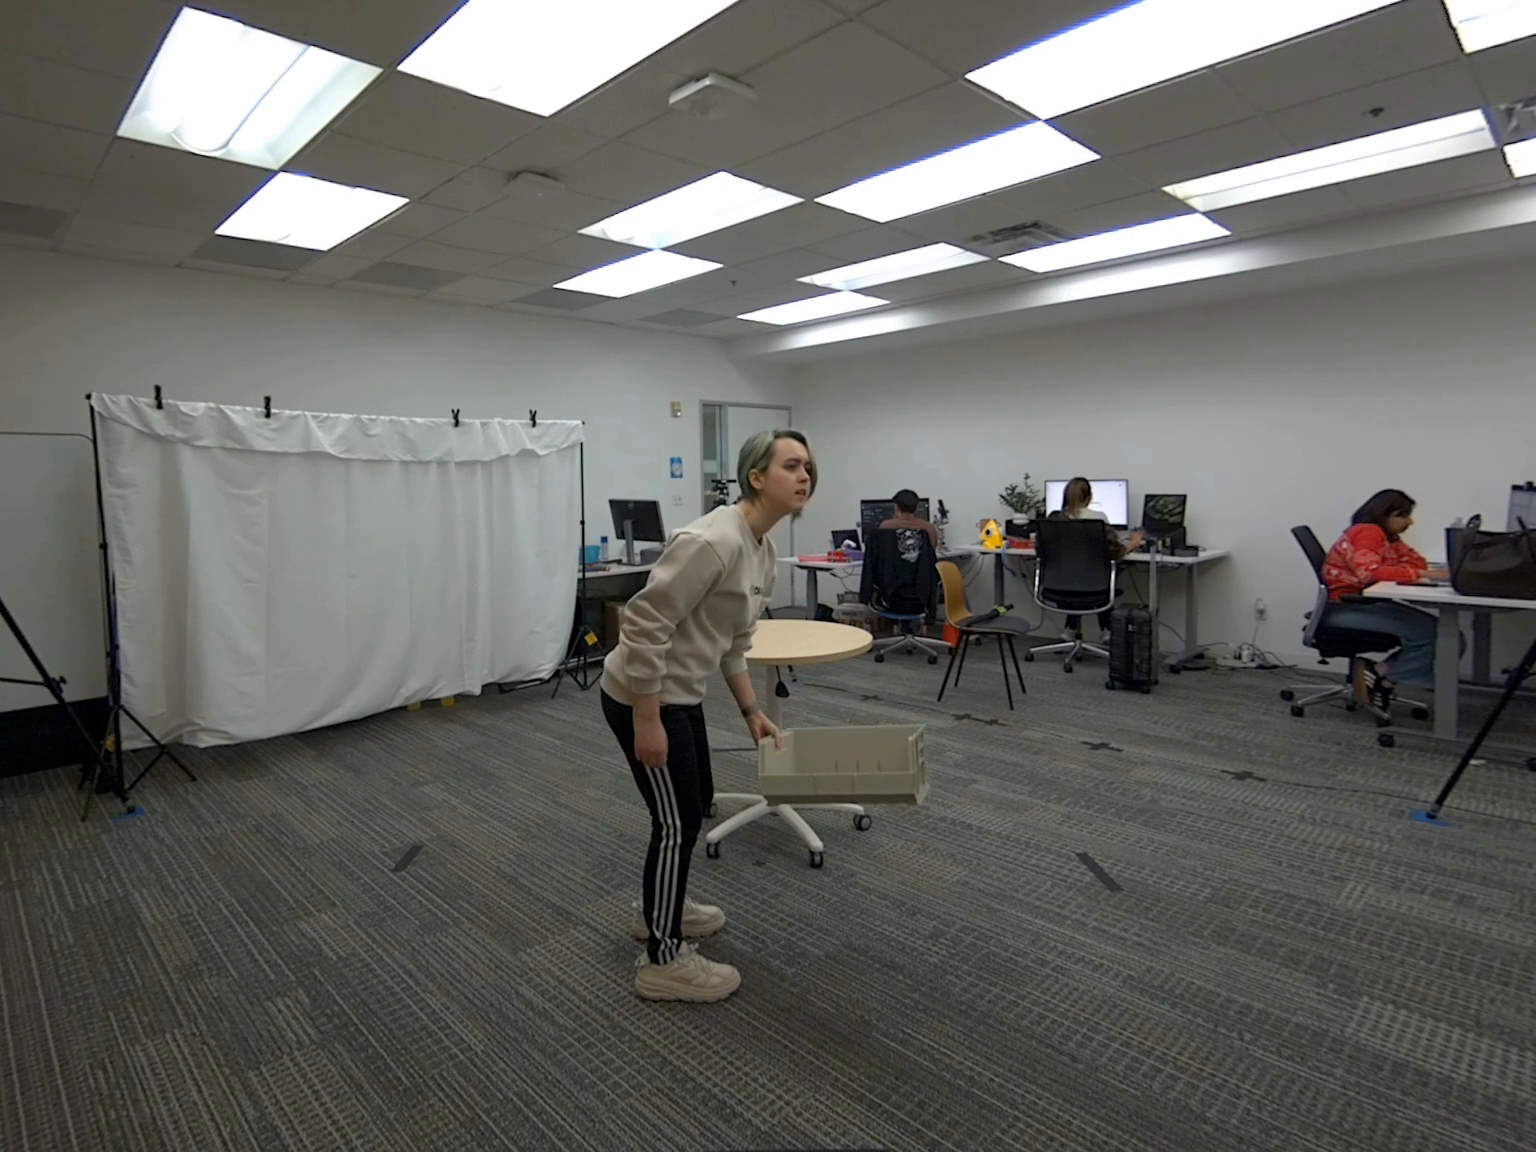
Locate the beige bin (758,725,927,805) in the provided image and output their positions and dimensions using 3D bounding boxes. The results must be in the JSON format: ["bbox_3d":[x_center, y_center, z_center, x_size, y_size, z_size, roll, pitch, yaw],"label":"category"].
[{"bbox_3d":[0.220,0.535,2.401,0.428,0.190,0.369,-6,-7,16],"label":"beige bin"}]
